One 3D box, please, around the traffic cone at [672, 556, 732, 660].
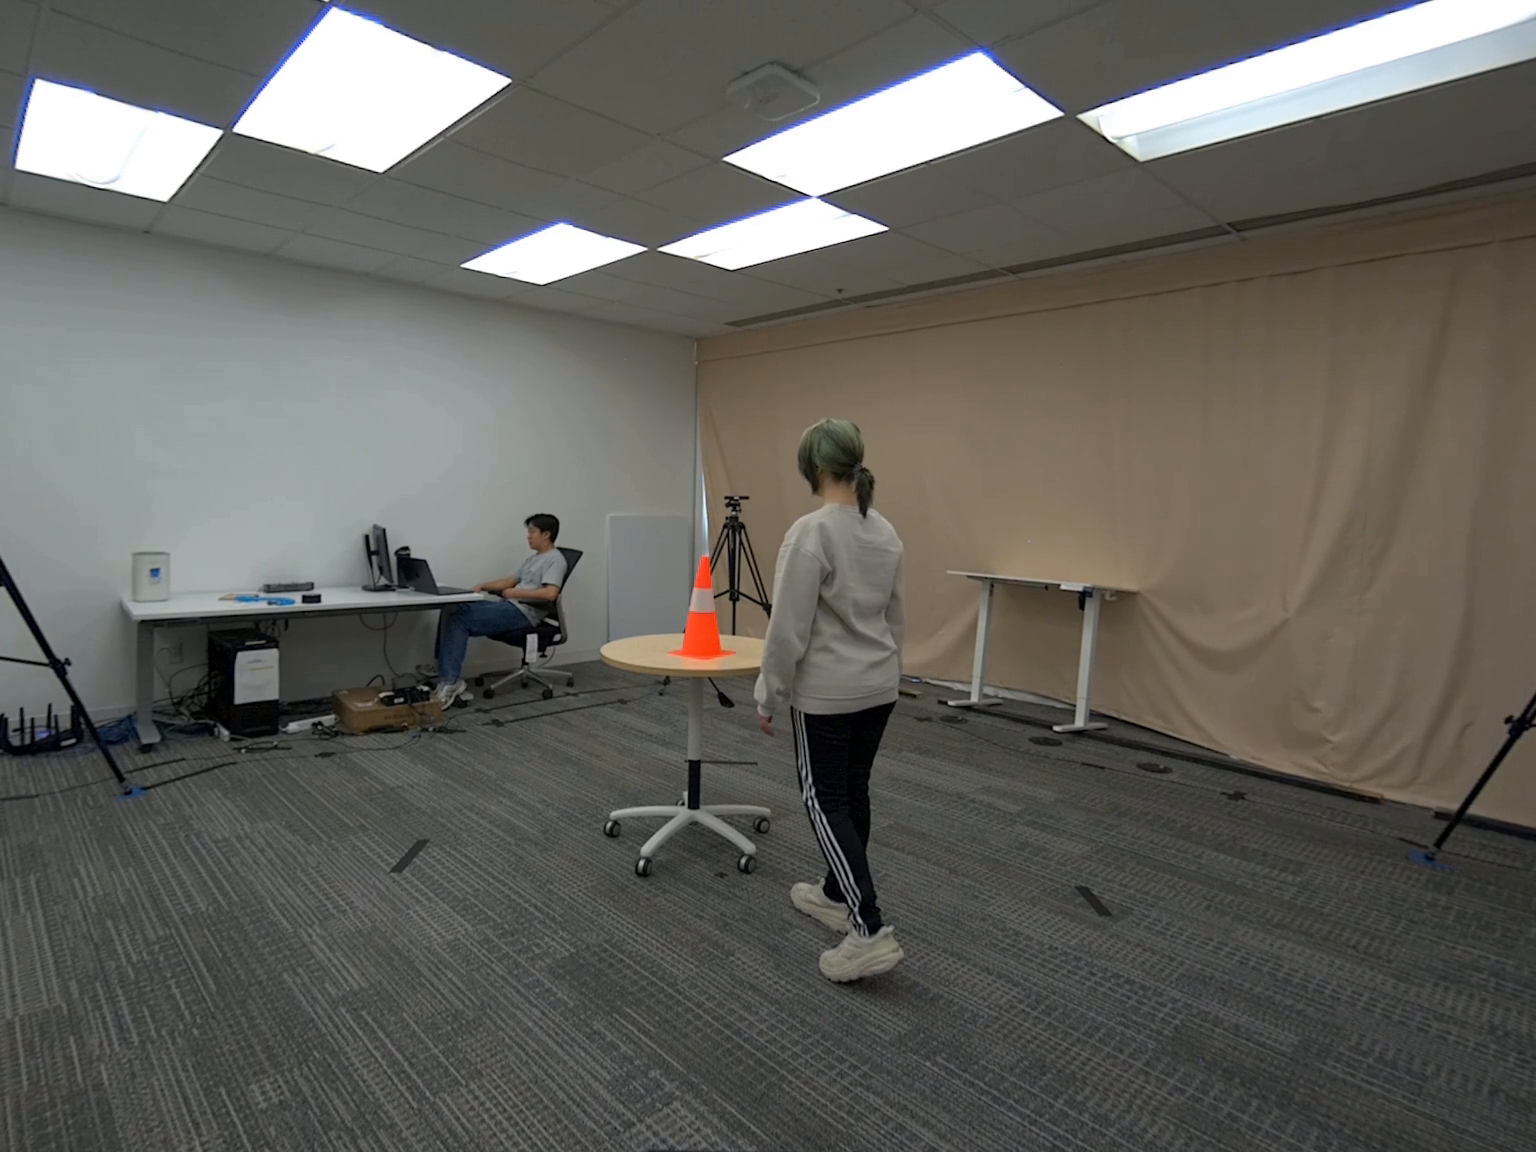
[{"bbox_3d":[-0.260,0.116,3.276,0.208,0.383,0.200,5,3,38],"label":"traffic cone"}]
